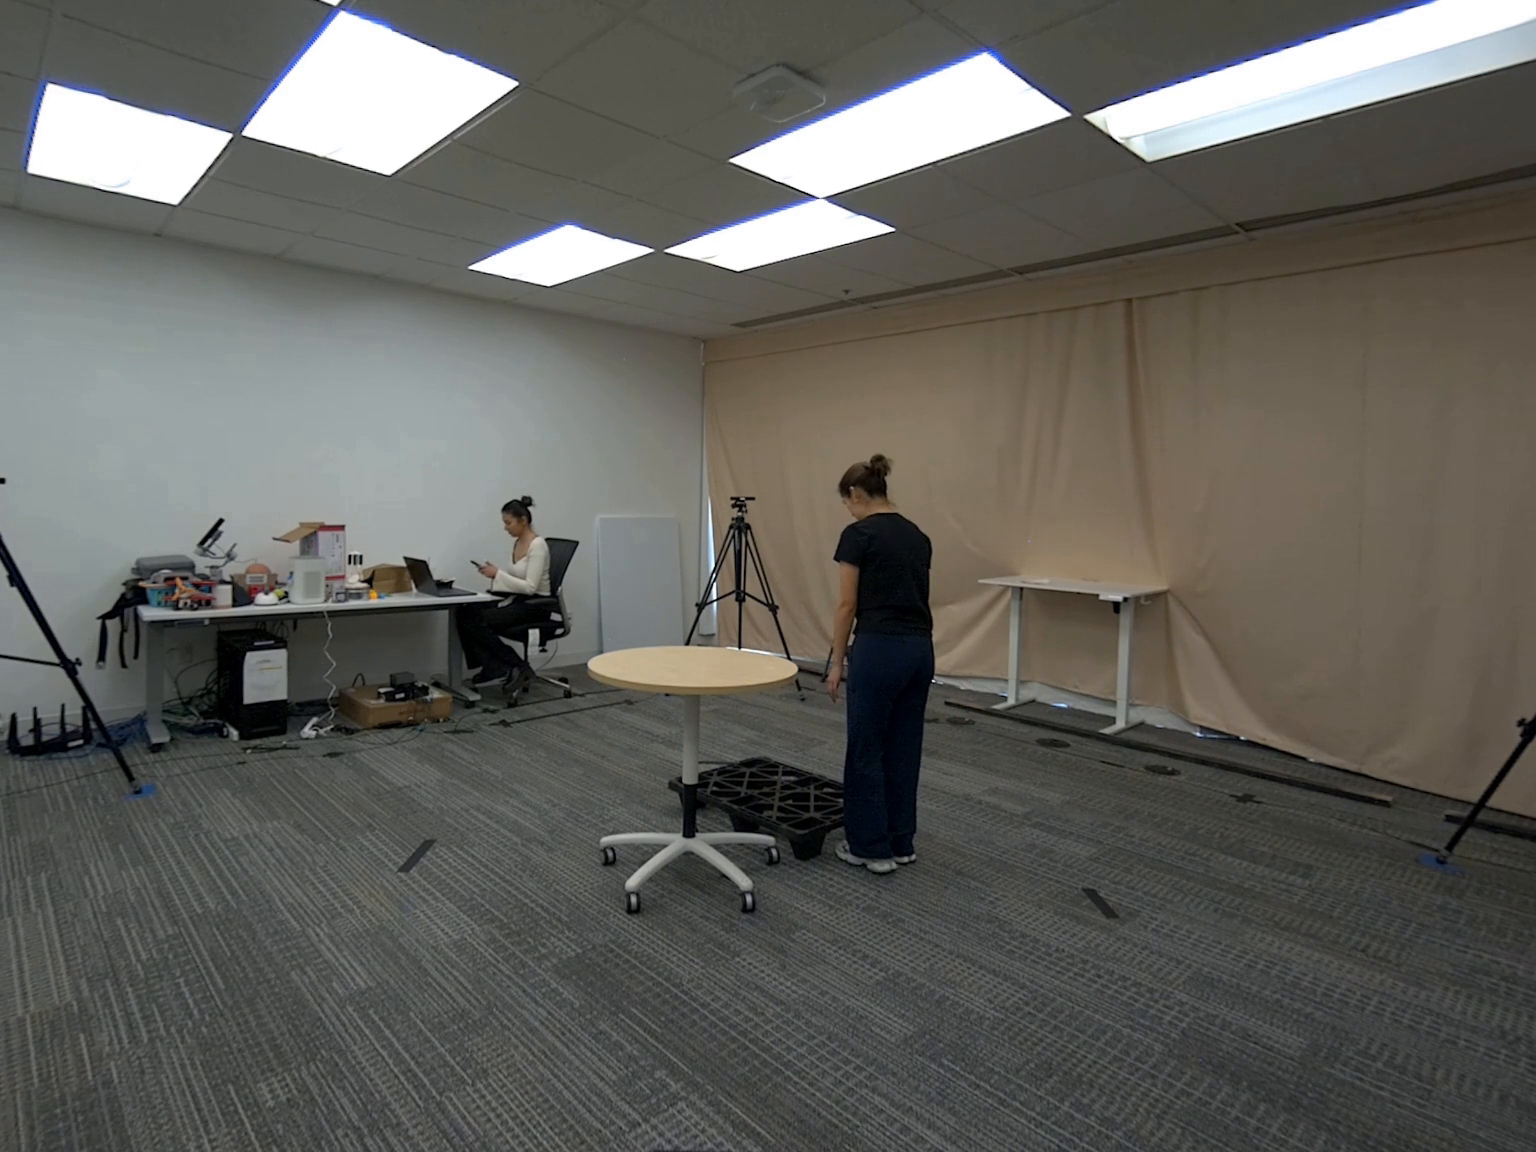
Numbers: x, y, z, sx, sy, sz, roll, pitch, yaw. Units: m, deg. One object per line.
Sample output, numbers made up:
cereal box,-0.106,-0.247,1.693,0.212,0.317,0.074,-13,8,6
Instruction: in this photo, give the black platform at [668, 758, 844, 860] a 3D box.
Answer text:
black platform,0.033,0.999,3.652,0.591,0.143,0.826,-4,7,-45
